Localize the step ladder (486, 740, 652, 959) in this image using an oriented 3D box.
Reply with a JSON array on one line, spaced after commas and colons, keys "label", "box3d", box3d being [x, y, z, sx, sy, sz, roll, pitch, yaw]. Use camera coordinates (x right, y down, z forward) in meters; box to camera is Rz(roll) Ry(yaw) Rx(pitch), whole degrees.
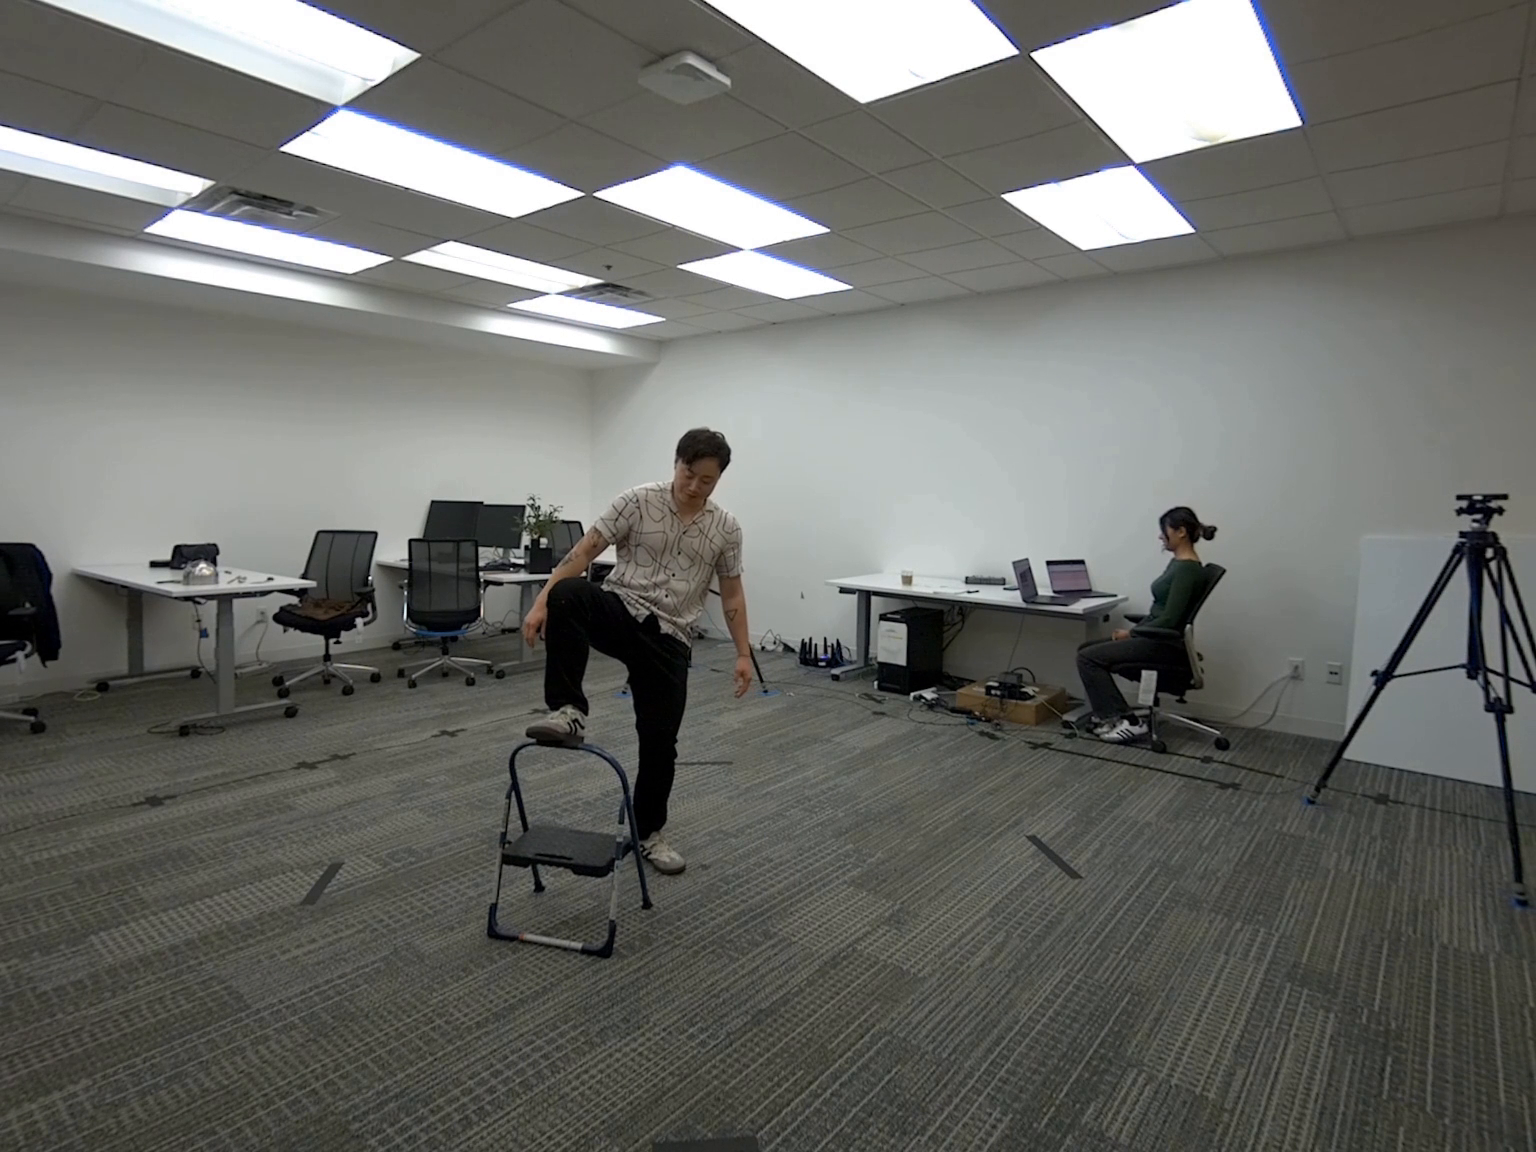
[{"label": "step ladder", "box3d": [-0.637, 0.799, 2.698, 0.437, 0.604, 0.345, 1, 3, 14]}]
